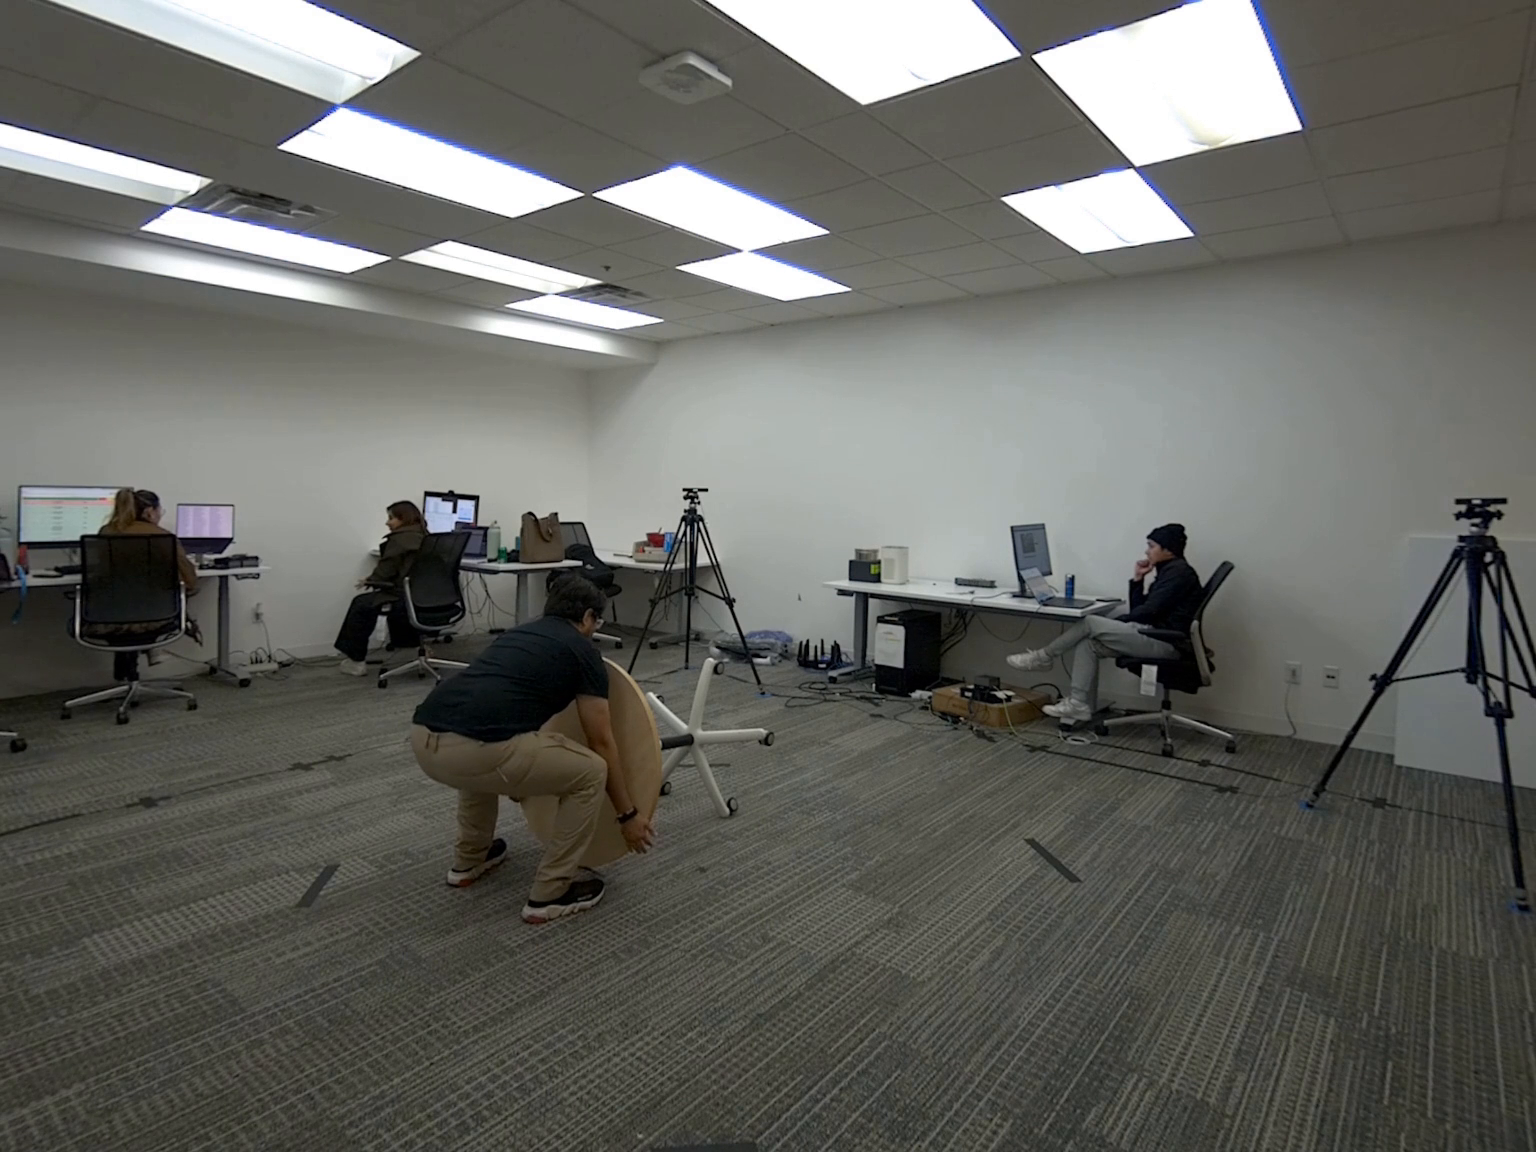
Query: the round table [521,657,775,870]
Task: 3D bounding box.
[{"bbox_3d":[-0.488,0.697,3.467,0.811,0.787,0.760,4,-2,36],"label":"round table"}]
